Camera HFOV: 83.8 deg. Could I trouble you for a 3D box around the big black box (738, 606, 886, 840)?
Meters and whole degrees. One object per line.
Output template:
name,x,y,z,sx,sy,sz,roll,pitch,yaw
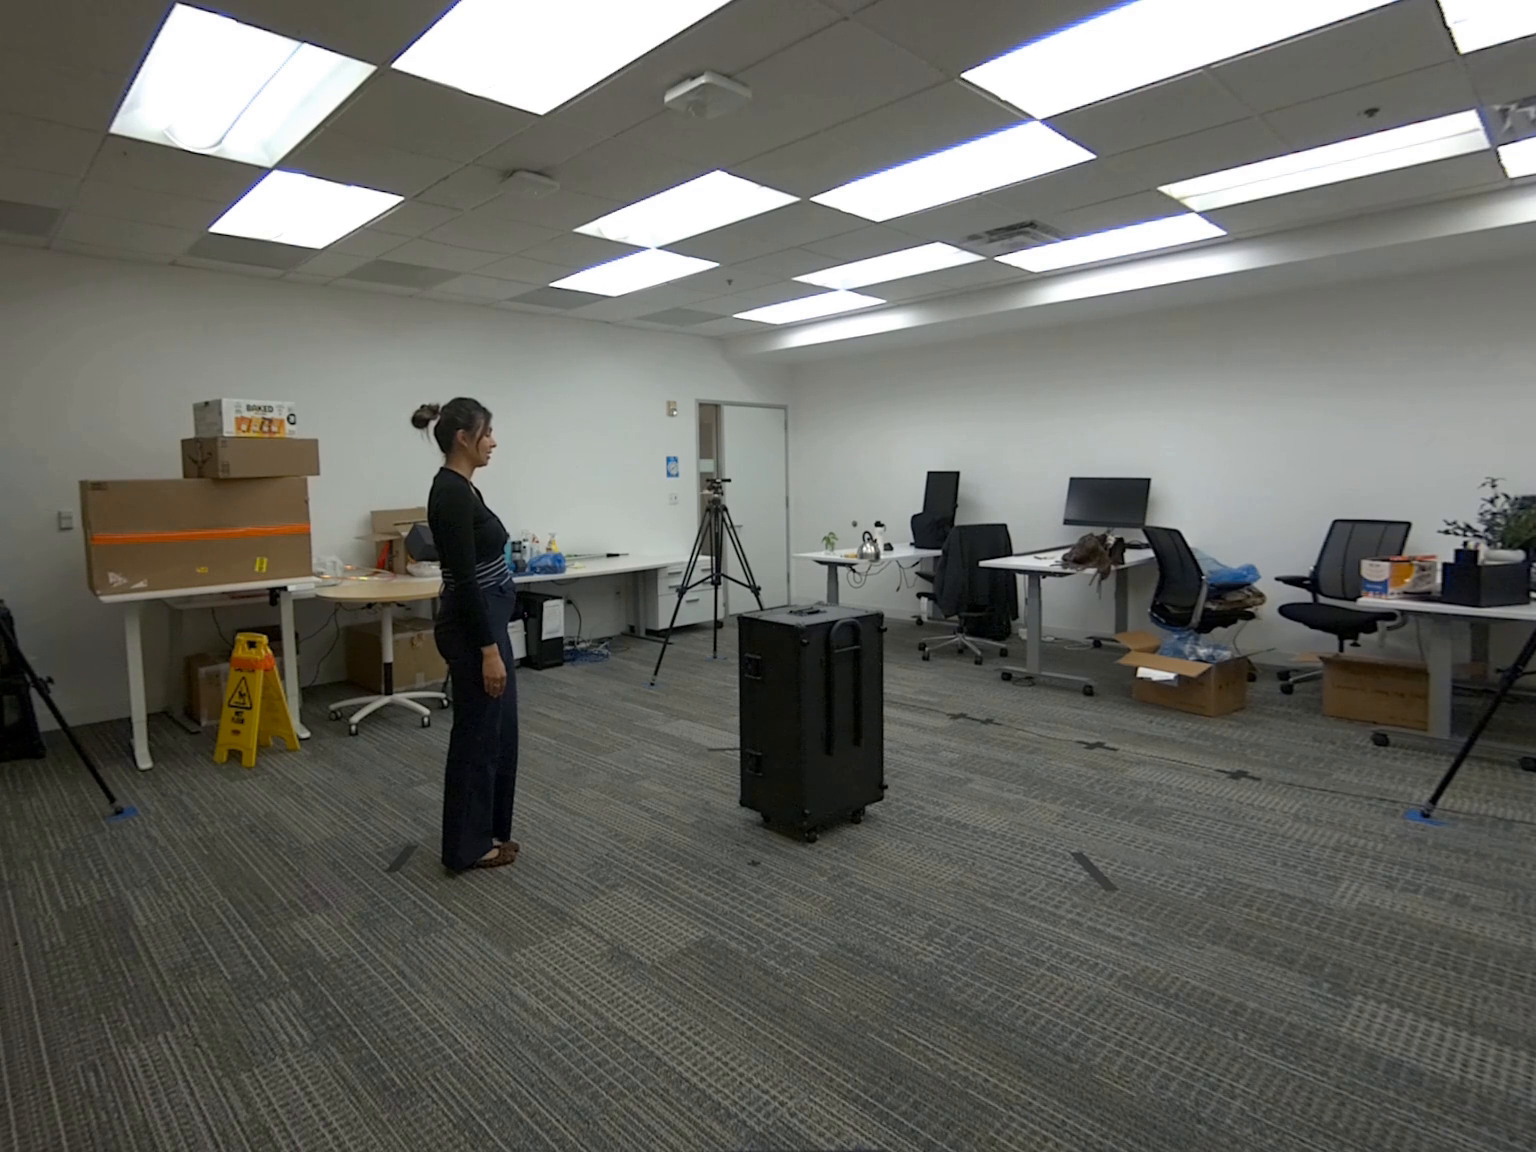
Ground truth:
big black box,0.190,0.576,3.468,0.507,0.858,0.409,-5,6,-41
